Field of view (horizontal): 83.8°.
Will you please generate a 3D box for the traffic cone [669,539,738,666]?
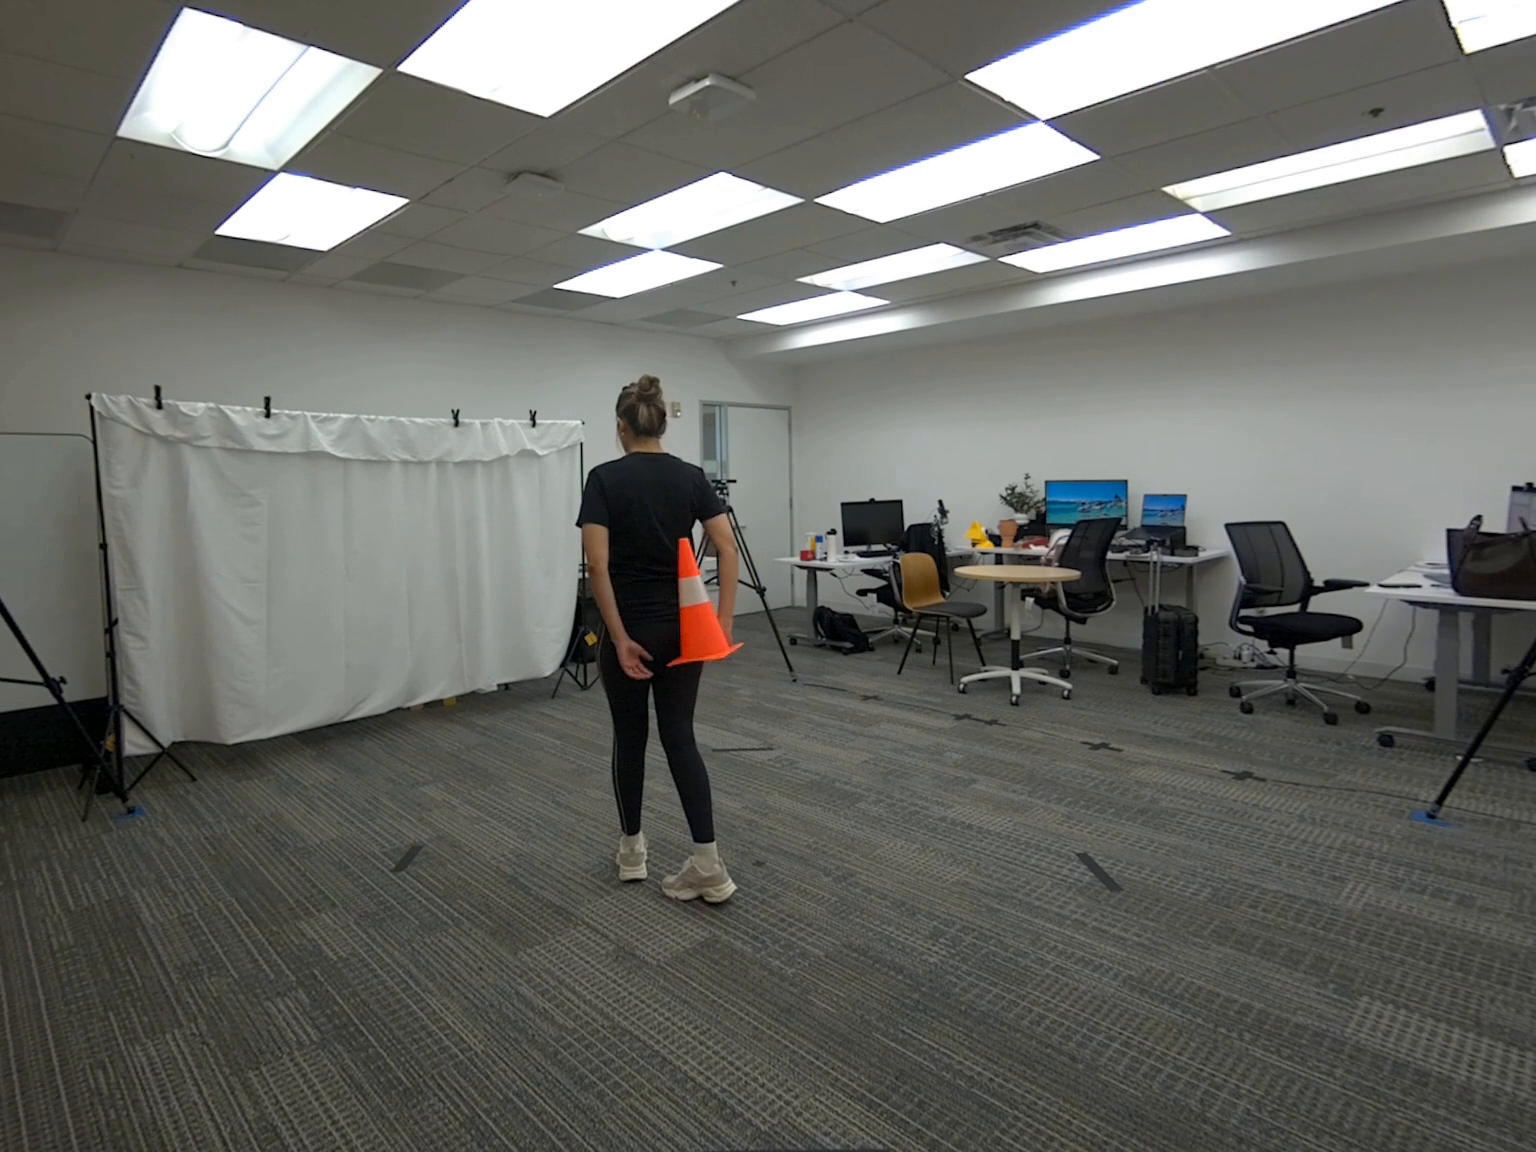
[{"bbox_3d":[-0.249,0.069,2.758,0.199,0.383,0.210,-13,3,-41],"label":"traffic cone"}]
